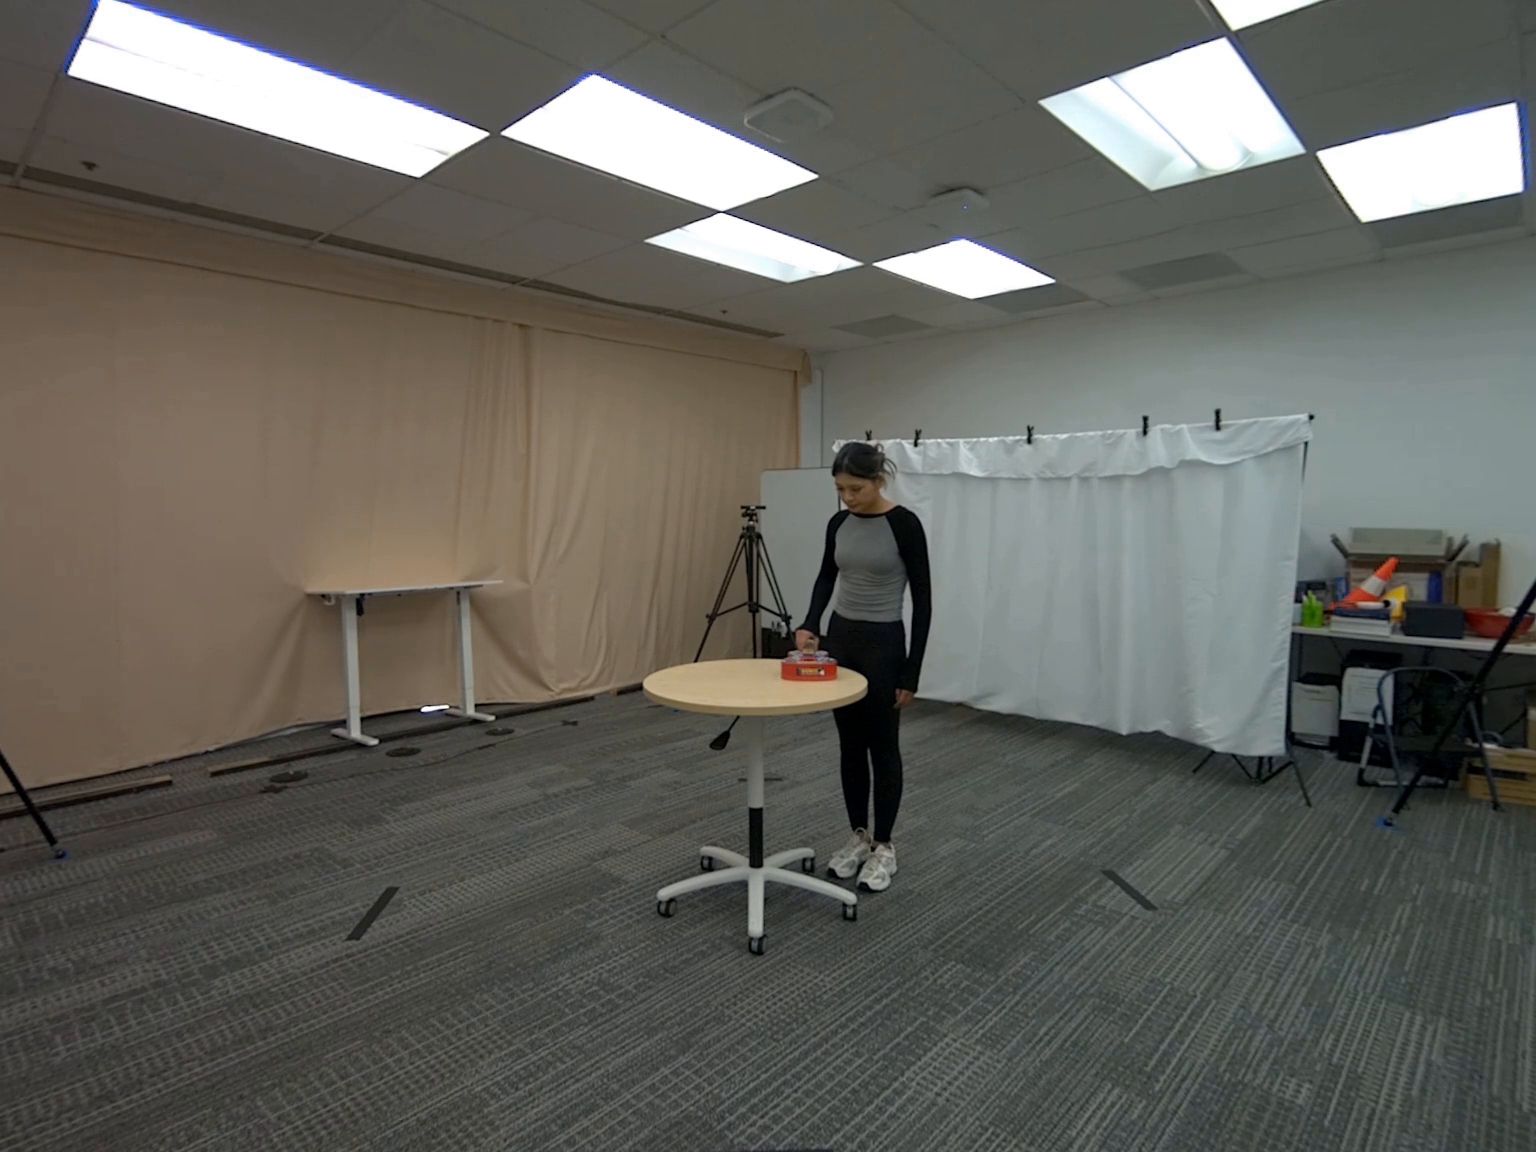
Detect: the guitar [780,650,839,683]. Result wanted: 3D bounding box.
[{"bbox_3d":[0.177,0.305,3.095,0.196,0.070,0.492,1,6,12],"label":"guitar"}]
